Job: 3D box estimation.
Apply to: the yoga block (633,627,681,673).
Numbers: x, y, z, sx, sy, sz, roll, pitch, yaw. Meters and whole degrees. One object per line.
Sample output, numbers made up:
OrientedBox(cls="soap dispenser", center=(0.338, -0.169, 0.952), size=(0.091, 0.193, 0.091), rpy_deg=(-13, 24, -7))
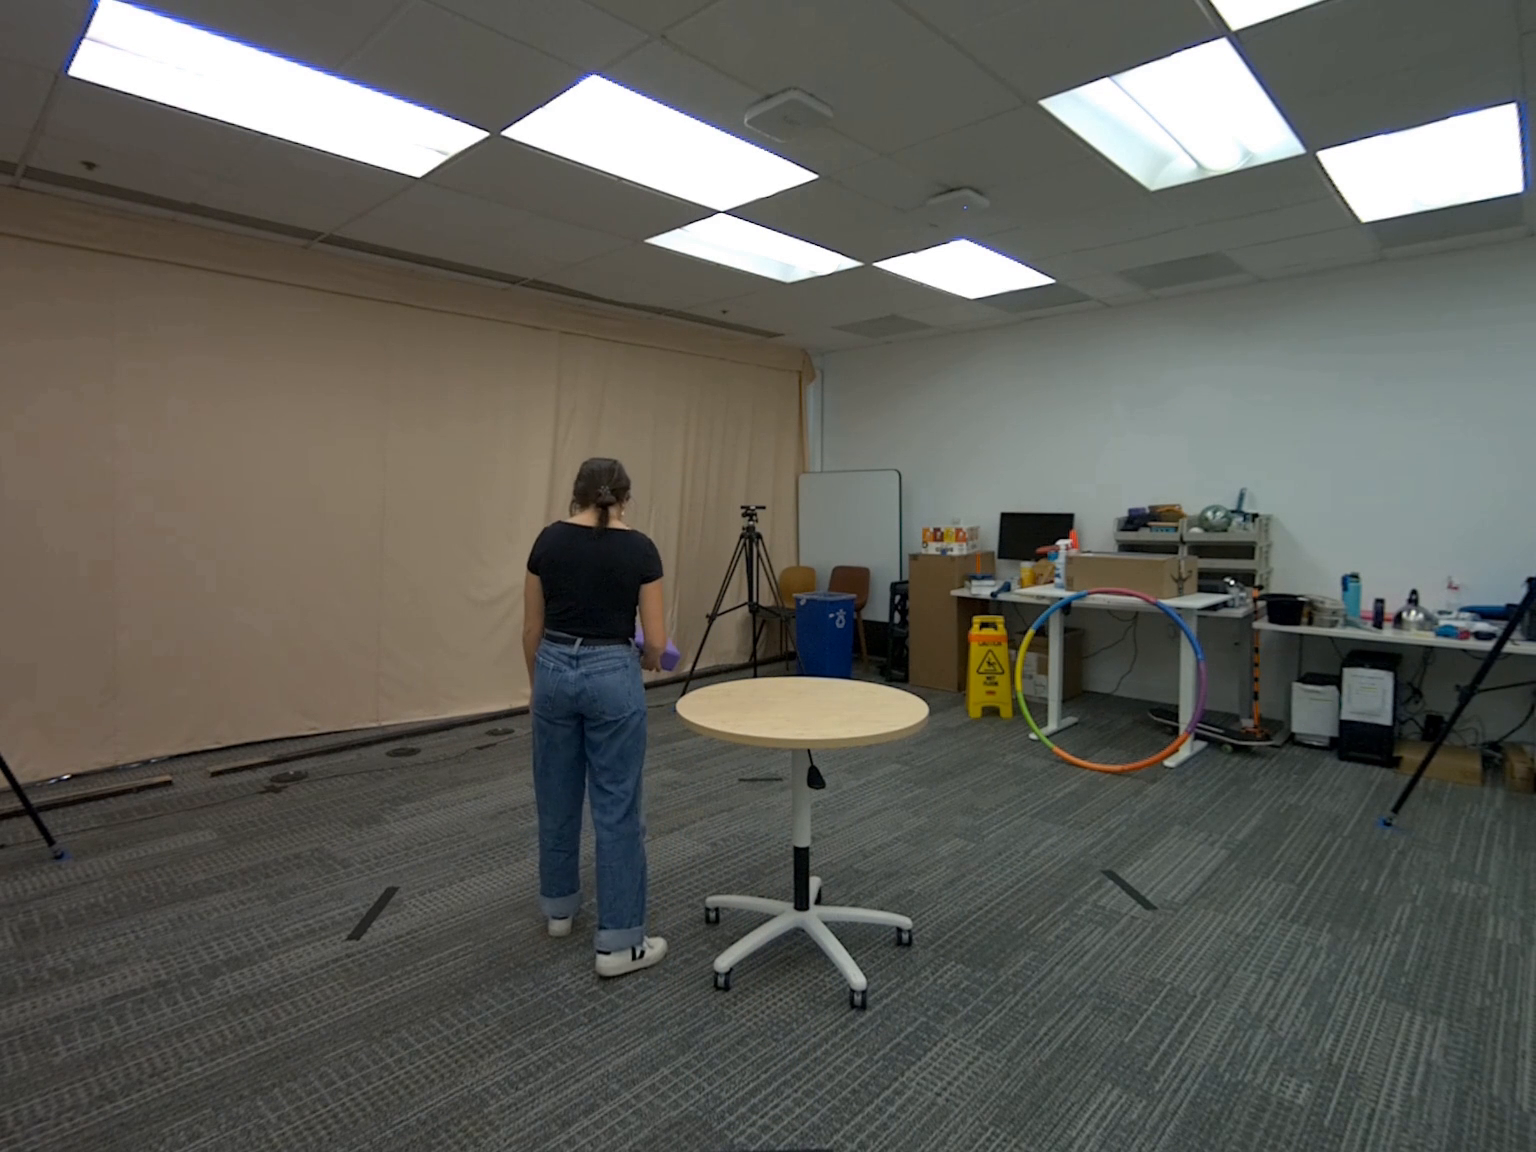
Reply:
OrientedBox(cls="yoga block", center=(-0.423, 0.254, 2.952), size=(0.222, 0.076, 0.154), rpy_deg=(21, 12, -29))
